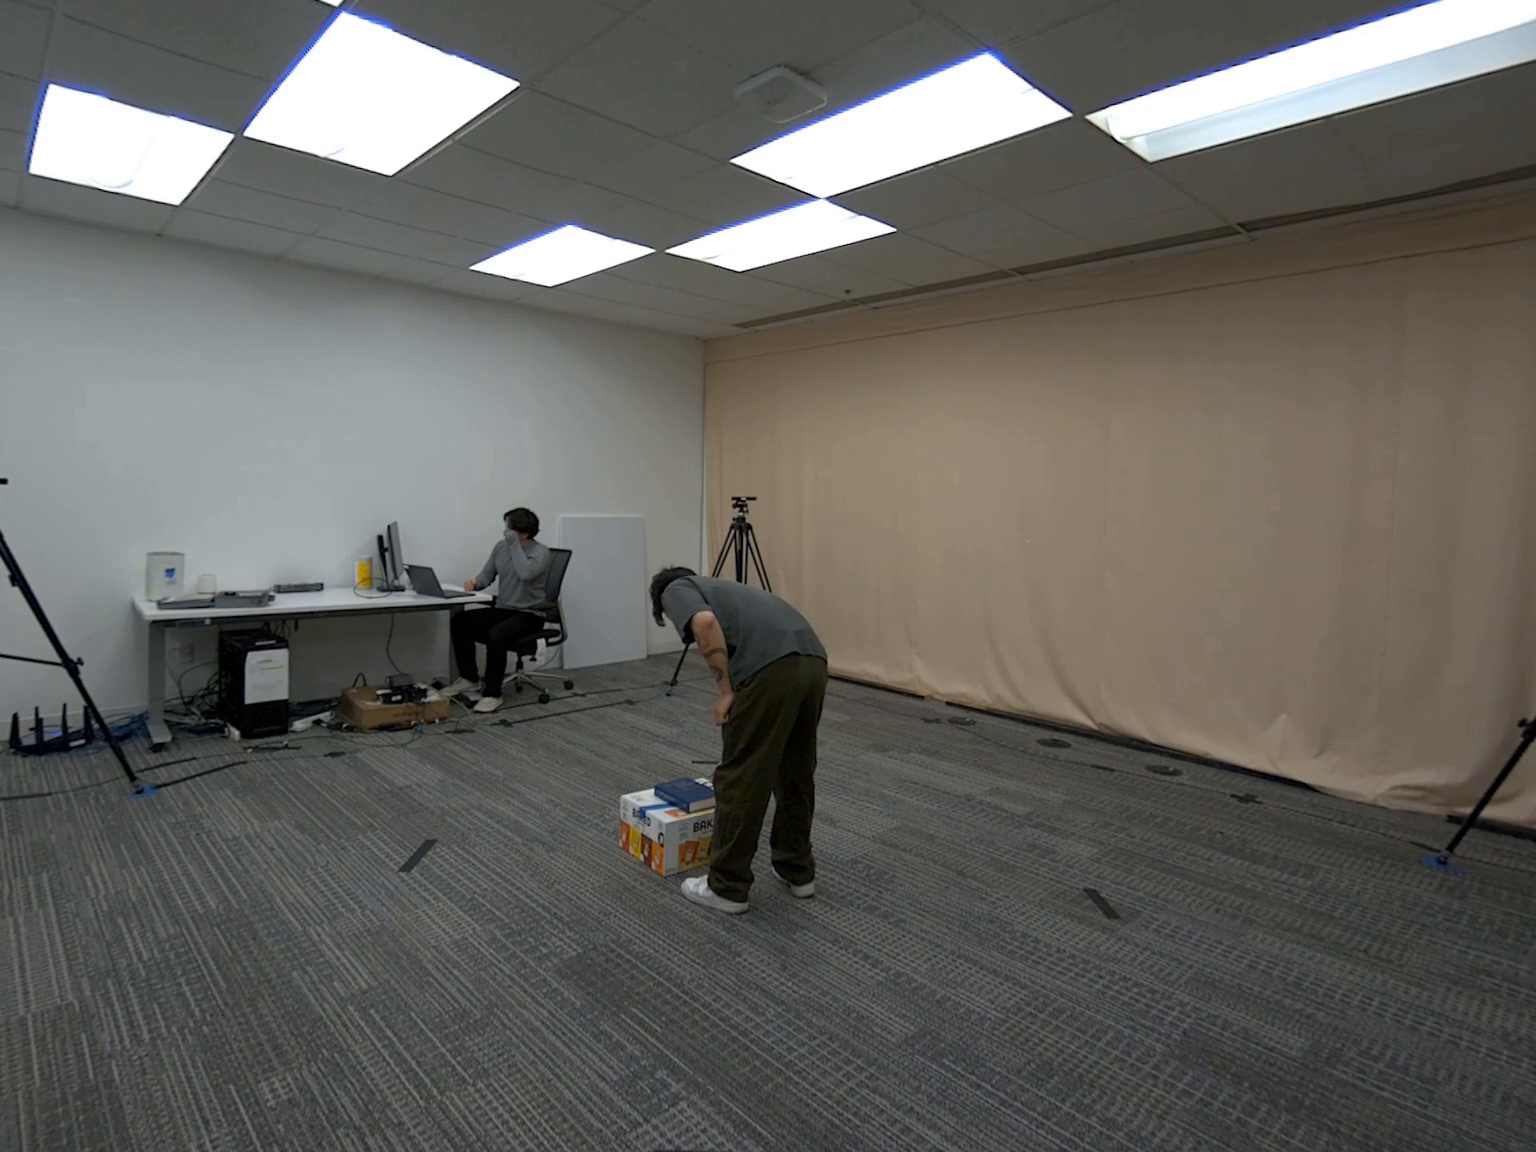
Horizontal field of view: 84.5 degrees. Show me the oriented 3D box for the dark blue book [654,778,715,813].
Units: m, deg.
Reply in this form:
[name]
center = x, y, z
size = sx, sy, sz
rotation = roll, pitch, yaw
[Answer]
[dark blue book]
center = -0.331, 0.870, 3.339
size = 0.160, 0.045, 0.251
rotation = -3, 7, -38
